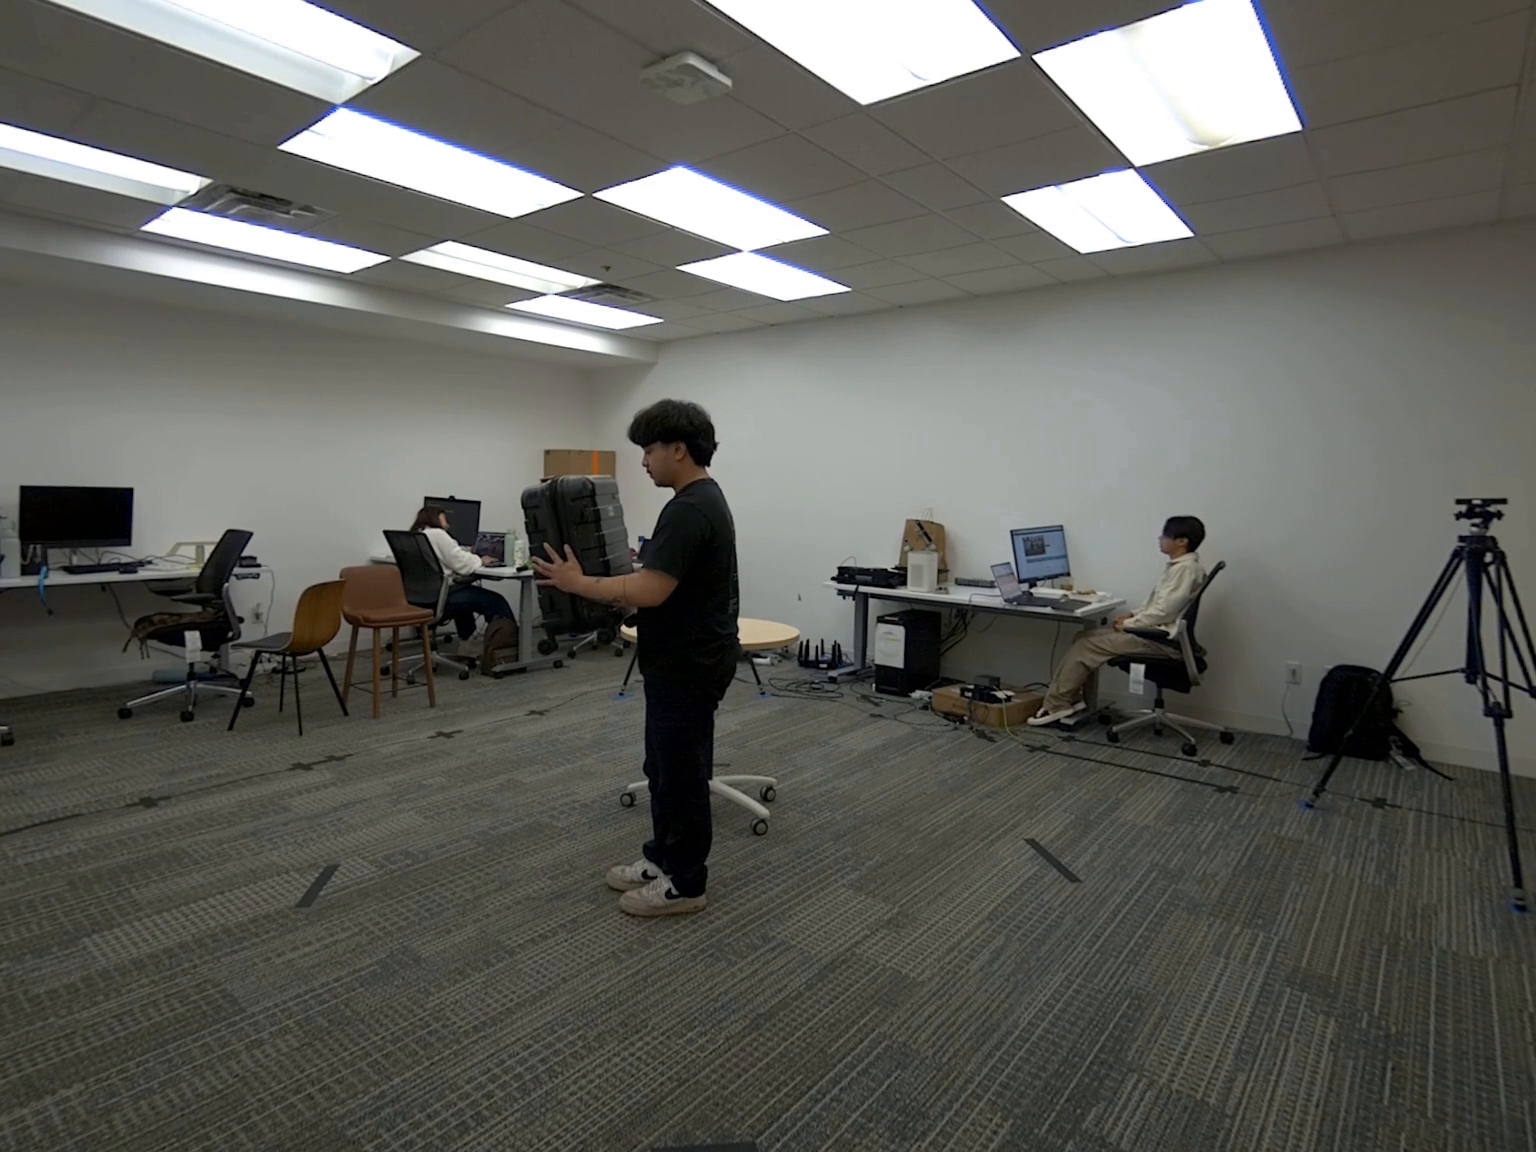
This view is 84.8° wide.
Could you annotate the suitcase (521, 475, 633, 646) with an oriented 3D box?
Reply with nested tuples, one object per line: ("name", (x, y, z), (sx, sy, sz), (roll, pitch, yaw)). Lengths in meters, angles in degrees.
("suitcase", (-0.620, -0.065, 2.810), (0.250, 0.548, 0.374), (-8, 3, 8))
